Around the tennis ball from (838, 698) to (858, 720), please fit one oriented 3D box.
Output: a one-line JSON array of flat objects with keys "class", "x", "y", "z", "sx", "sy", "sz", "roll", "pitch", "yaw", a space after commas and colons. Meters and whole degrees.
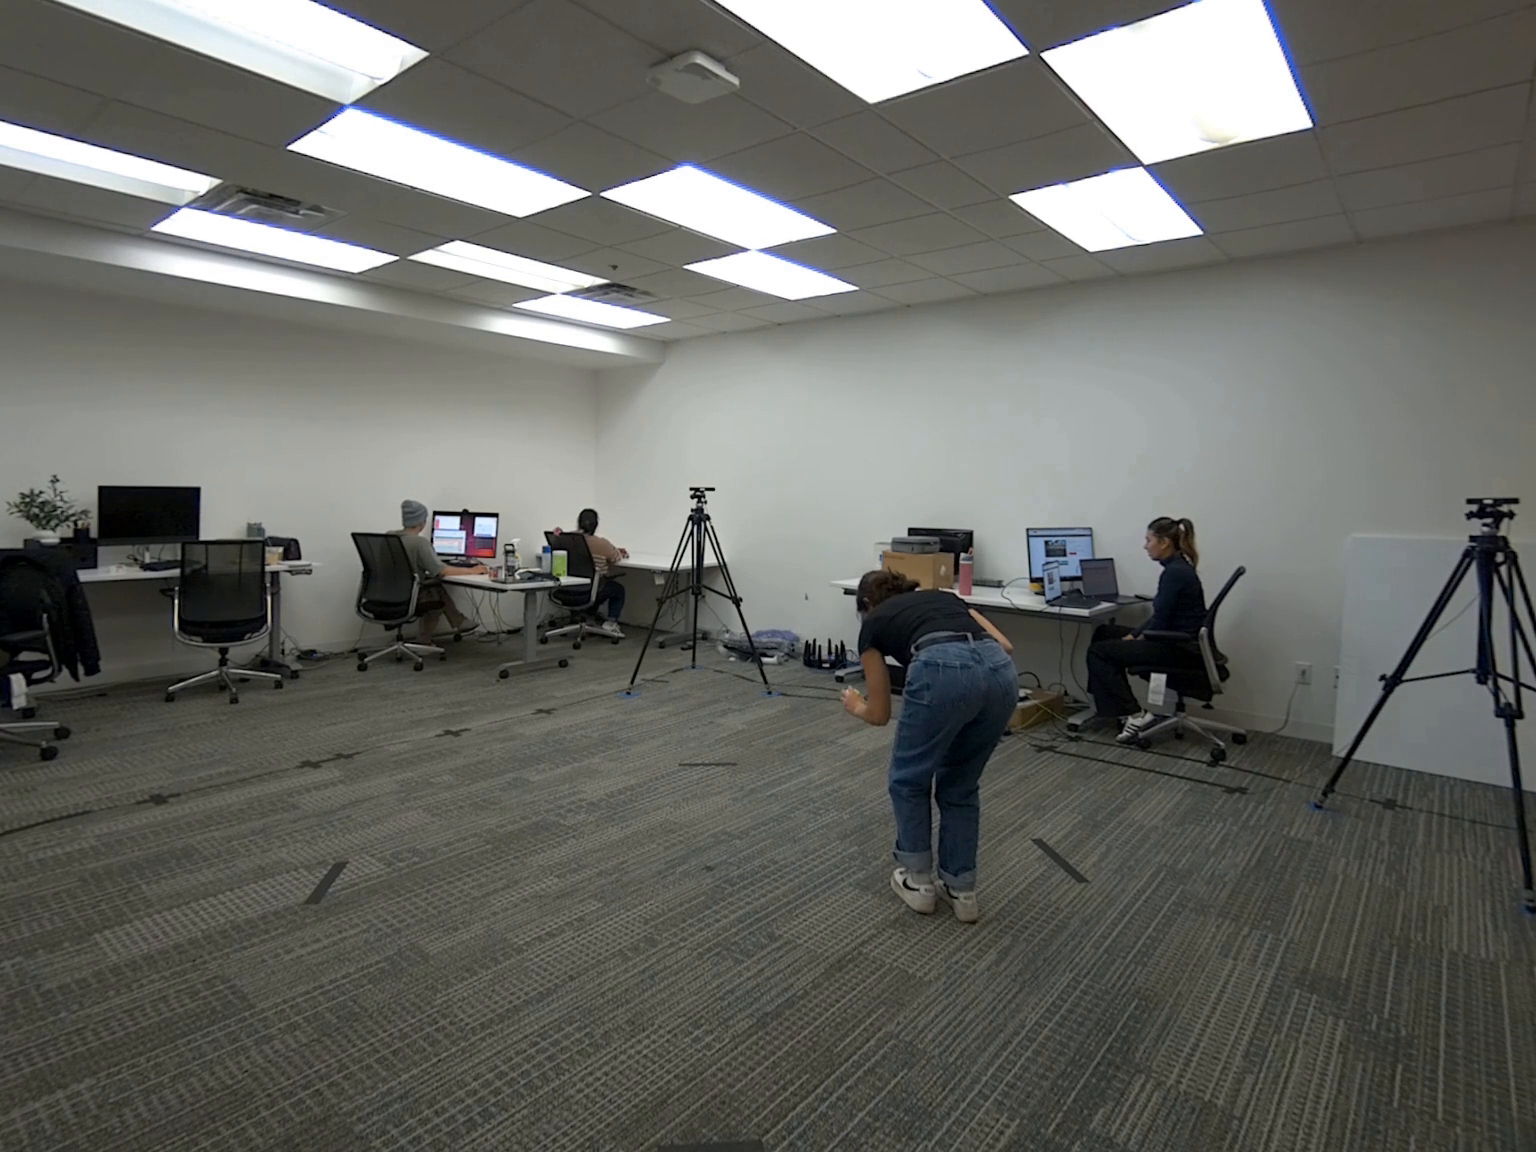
[{"class": "tennis ball", "x": 0.310, "y": 0.515, "z": 3.271, "sx": 0.066, "sy": 0.066, "sz": 0.067, "roll": 1, "pitch": 4, "yaw": -2}]
